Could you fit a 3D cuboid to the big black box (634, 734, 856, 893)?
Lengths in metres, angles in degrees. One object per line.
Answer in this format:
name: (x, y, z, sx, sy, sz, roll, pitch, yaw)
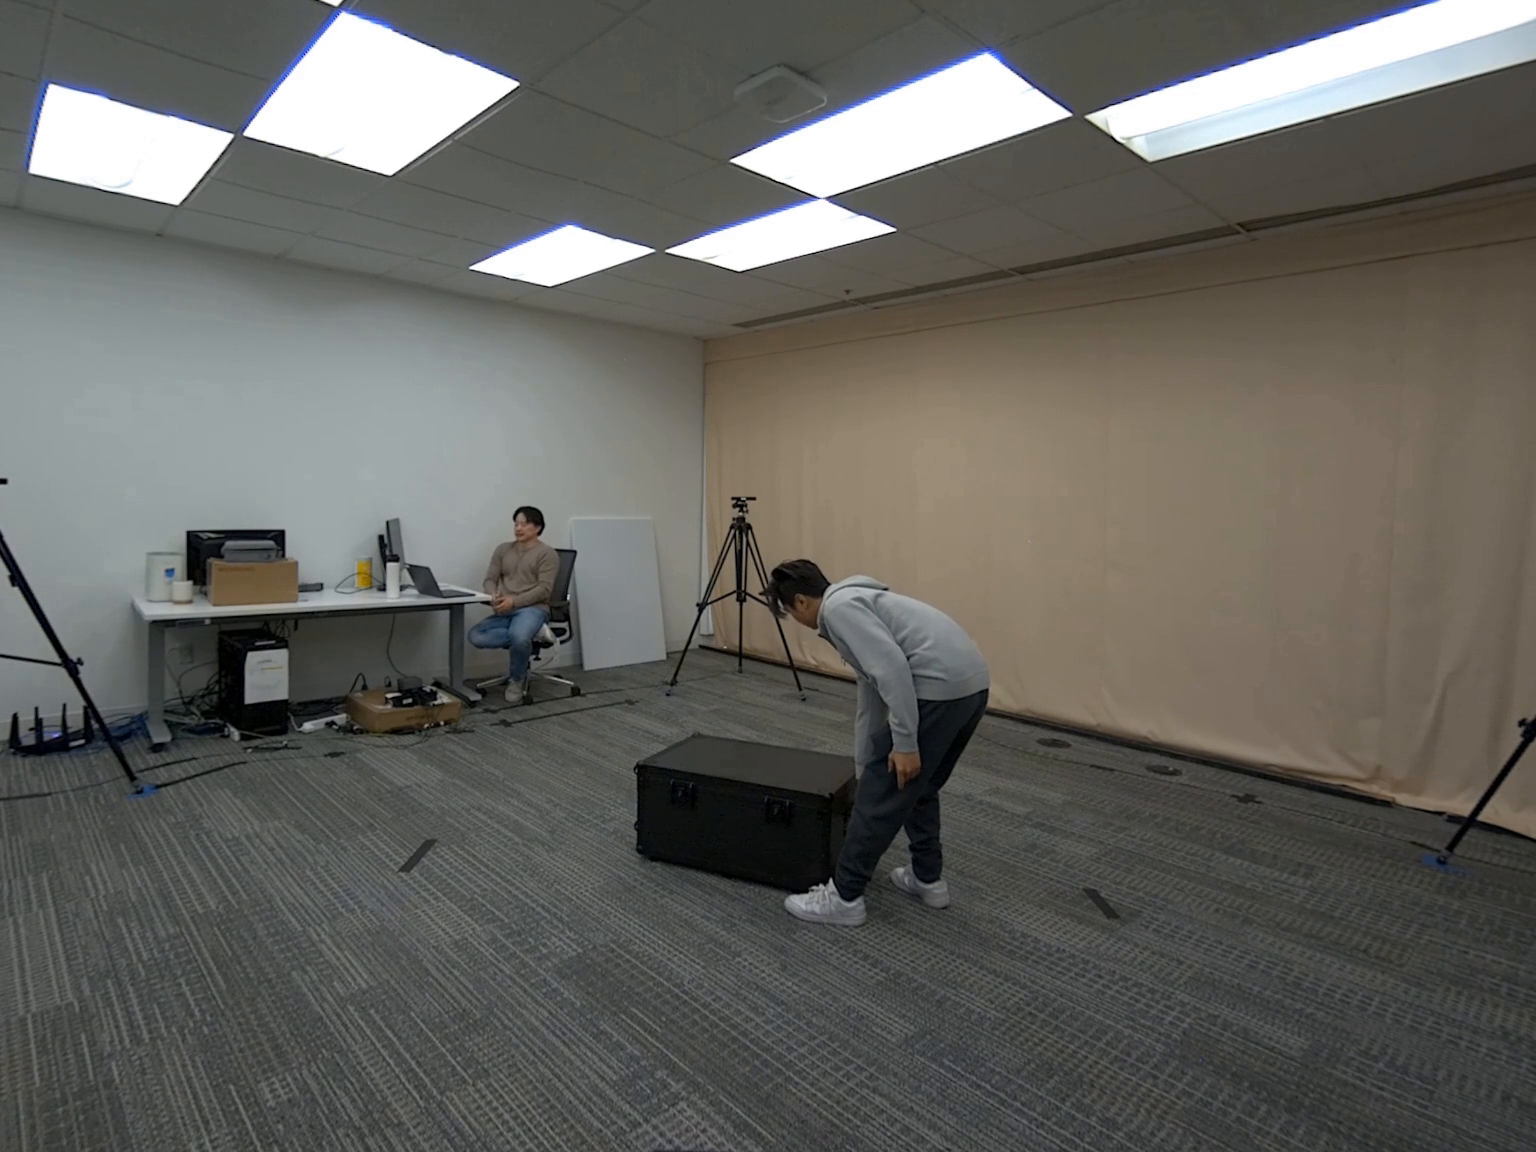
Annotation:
big black box: (-0.031, 0.905, 3.253, 0.878, 0.395, 0.513, 3, 5, 25)
